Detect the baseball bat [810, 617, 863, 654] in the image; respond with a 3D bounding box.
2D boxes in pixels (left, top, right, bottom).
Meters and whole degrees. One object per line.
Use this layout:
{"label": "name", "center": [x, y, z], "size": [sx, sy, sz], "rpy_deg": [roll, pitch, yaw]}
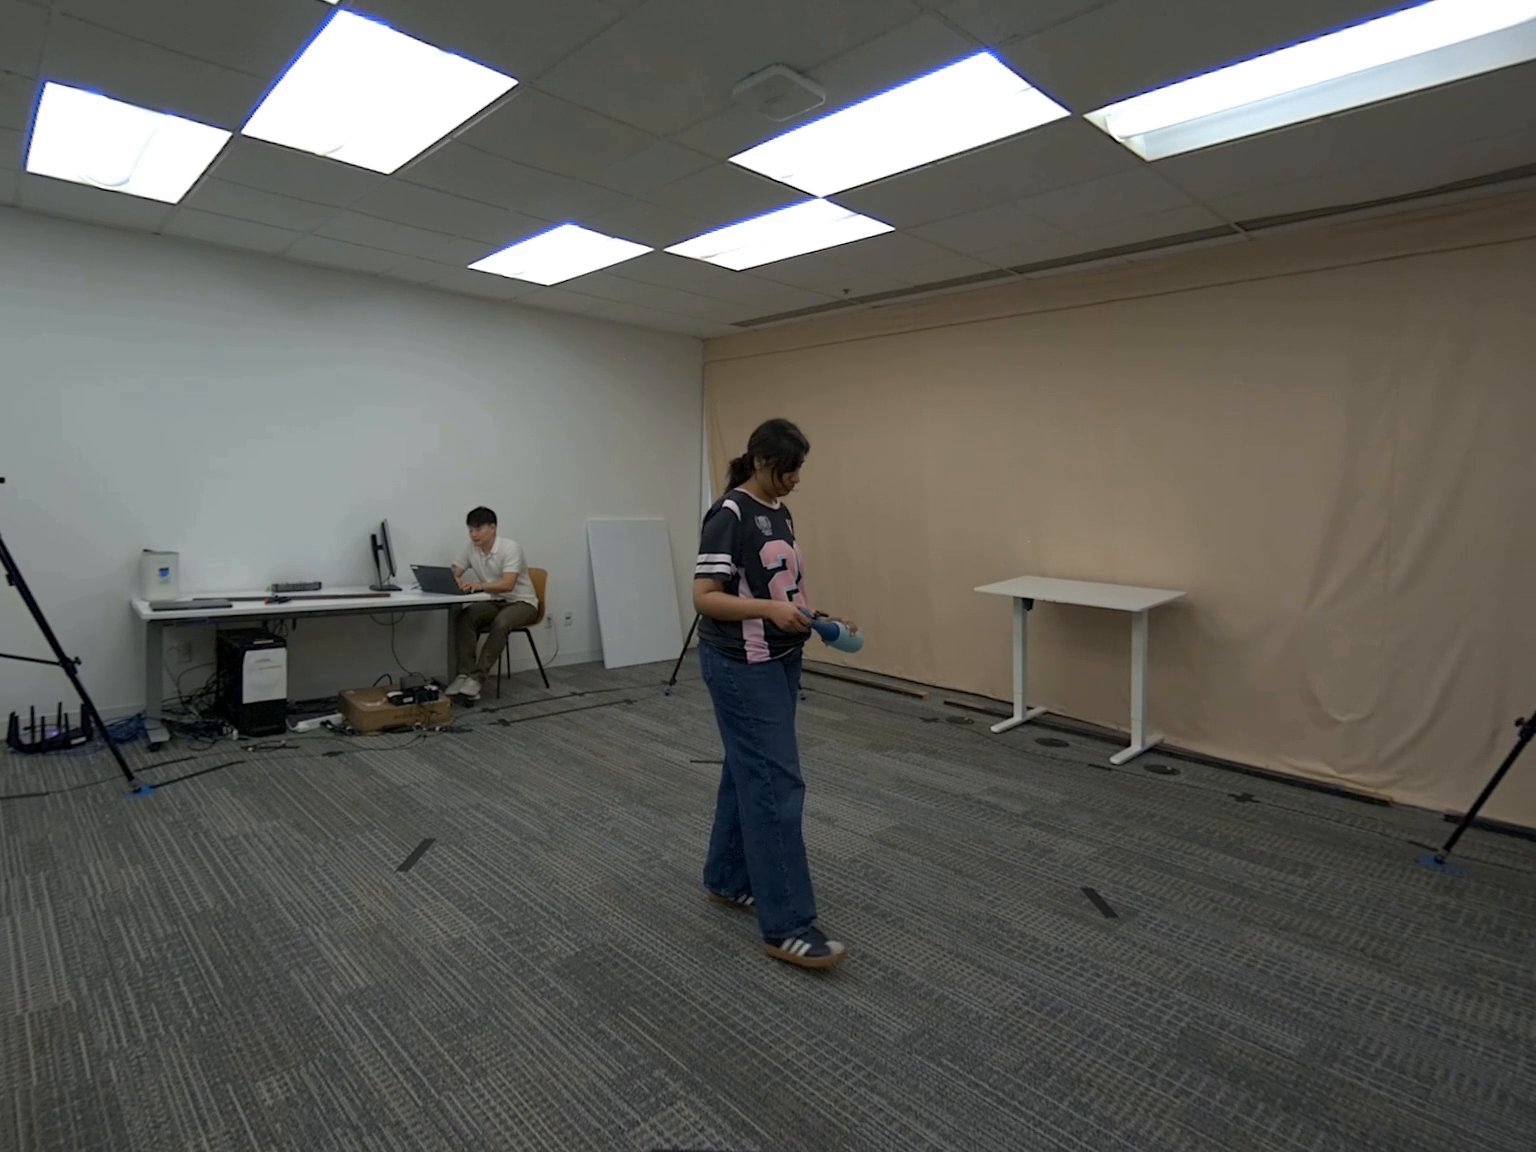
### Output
{"label": "baseball bat", "center": [0.192, 0.178, 2.722], "size": [0.090, 0.090, 0.529], "rpy_deg": [3, -12, 21]}
